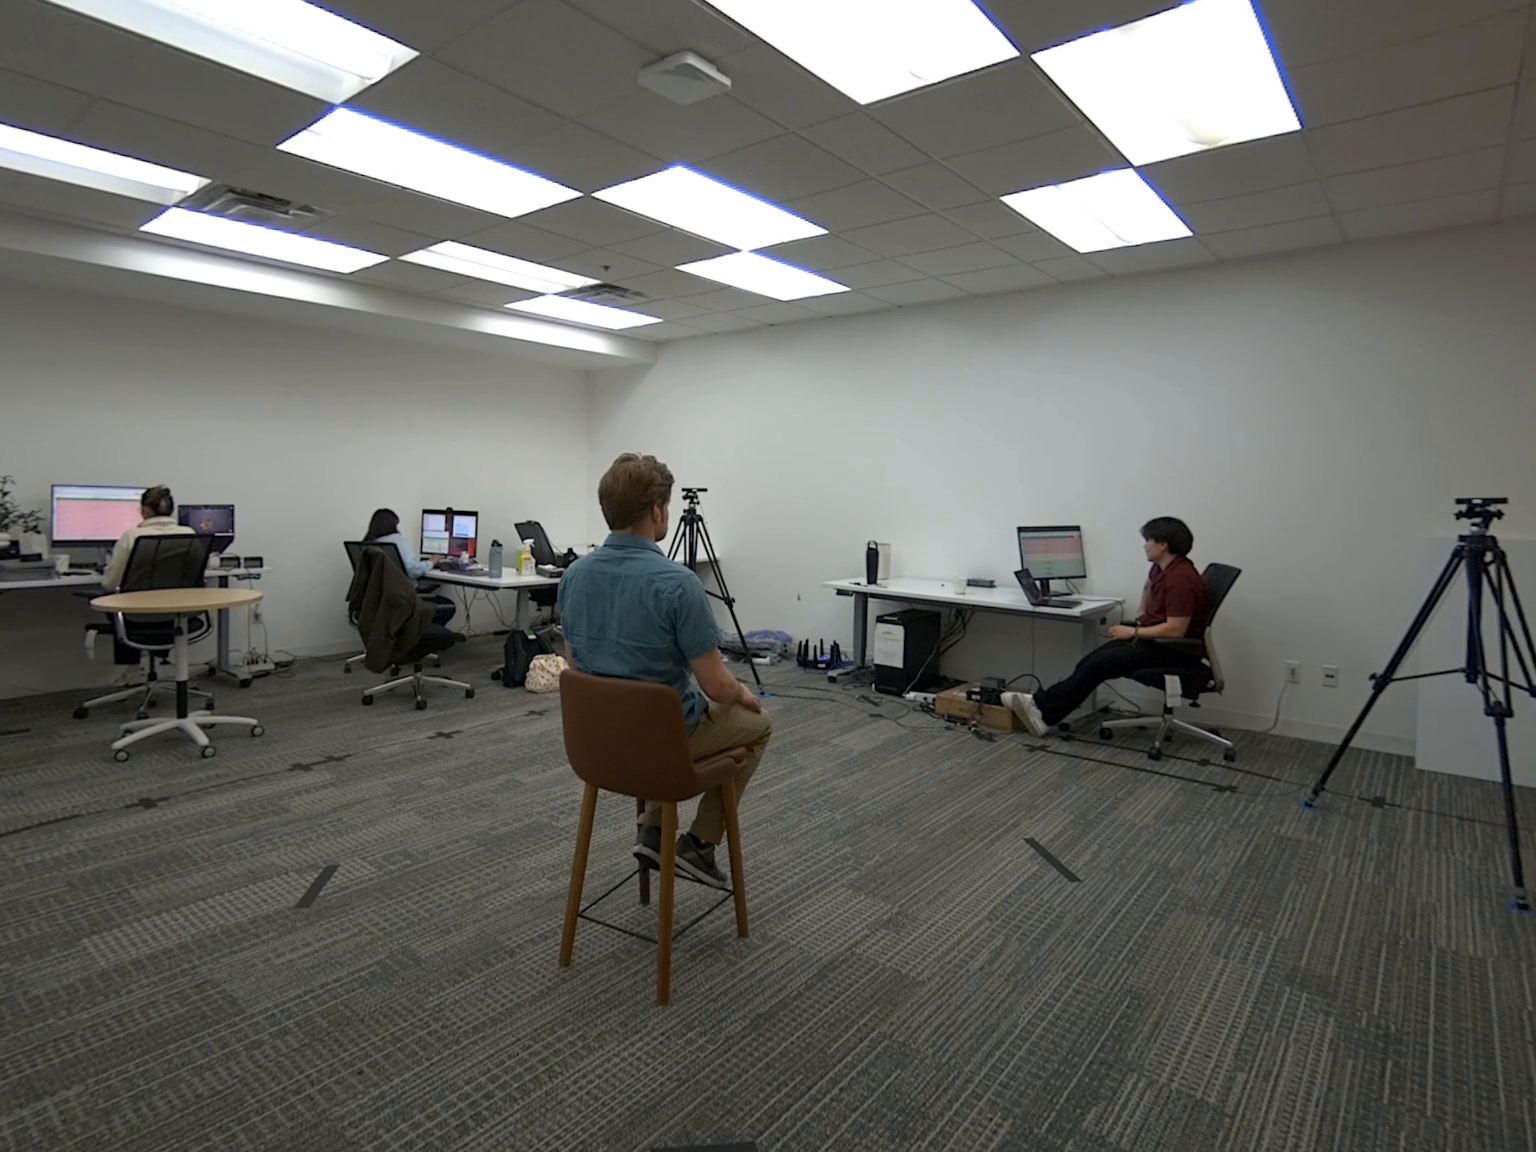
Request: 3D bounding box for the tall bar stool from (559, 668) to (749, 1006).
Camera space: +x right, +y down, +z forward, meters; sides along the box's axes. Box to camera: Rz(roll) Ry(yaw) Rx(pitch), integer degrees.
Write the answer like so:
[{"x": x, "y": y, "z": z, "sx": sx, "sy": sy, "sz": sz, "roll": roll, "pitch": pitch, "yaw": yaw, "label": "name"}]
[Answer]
[{"x": -0.351, "y": 0.687, "z": 2.536, "sx": 0.470, "sy": 0.886, "sz": 0.456, "roll": 2, "pitch": 6, "yaw": 30, "label": "tall bar stool"}]
